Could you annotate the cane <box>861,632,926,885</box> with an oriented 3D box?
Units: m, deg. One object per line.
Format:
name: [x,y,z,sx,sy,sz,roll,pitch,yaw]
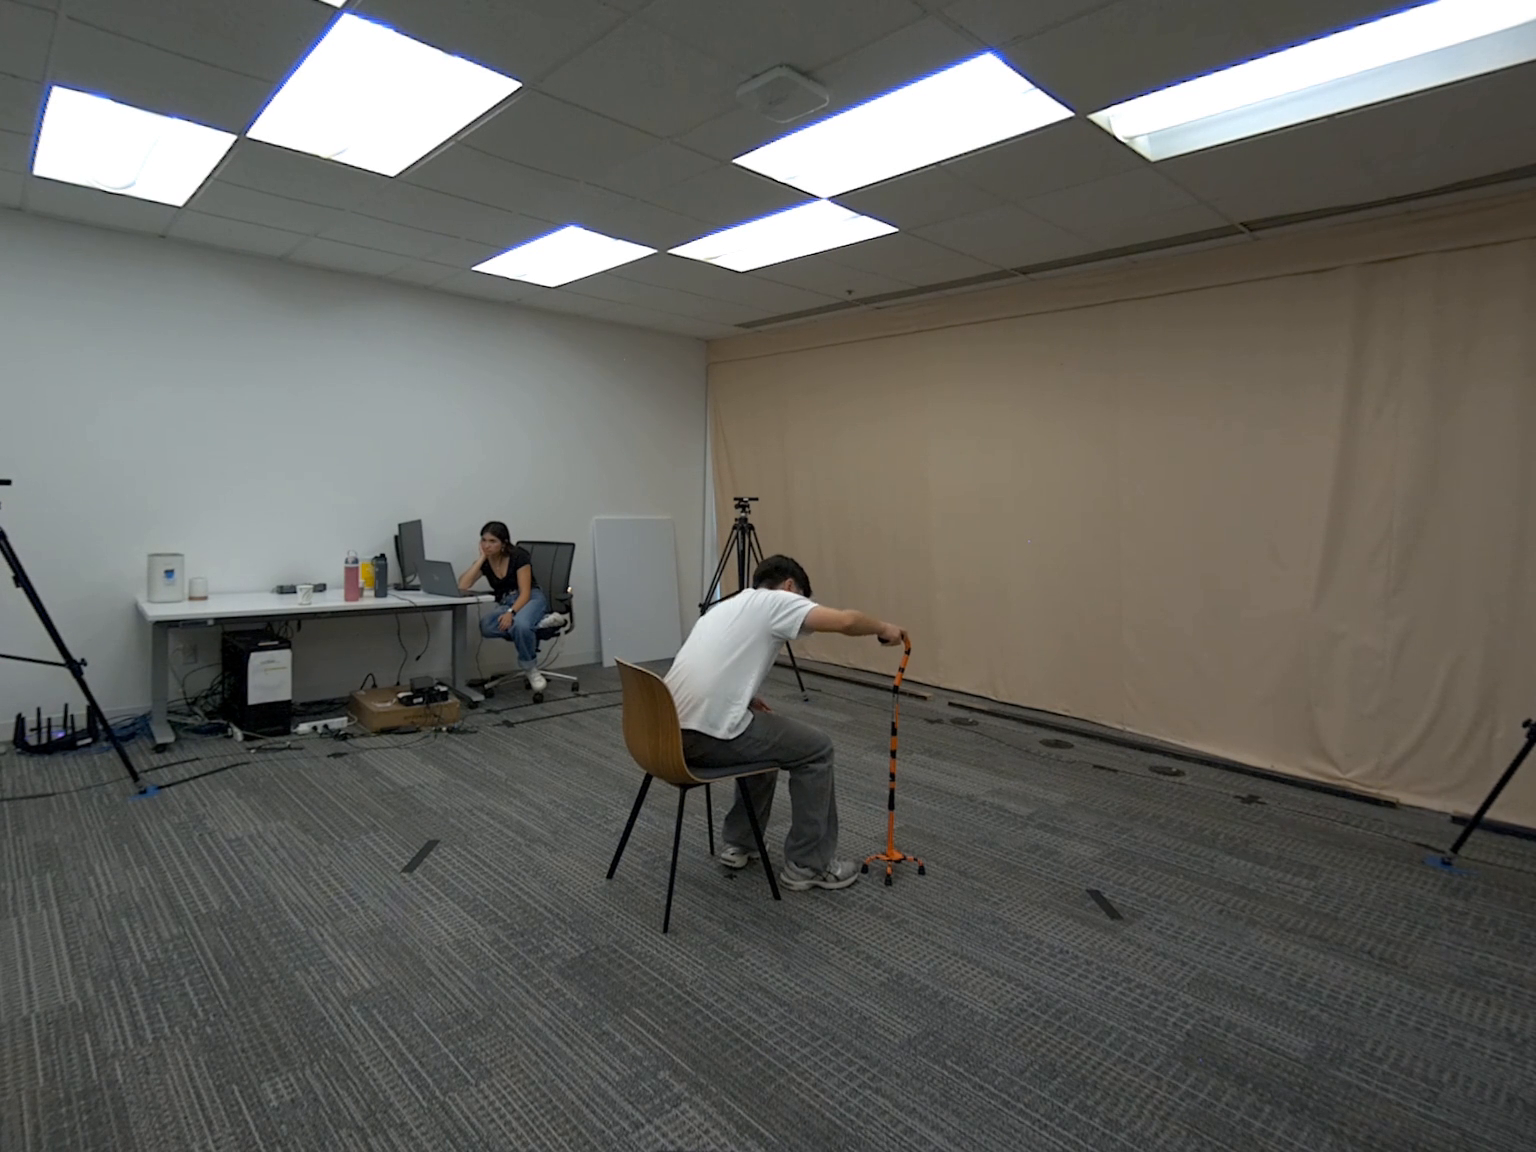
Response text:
cane: [0.478,0.663,3.140,0.202,0.907,0.155,0,2,-39]
